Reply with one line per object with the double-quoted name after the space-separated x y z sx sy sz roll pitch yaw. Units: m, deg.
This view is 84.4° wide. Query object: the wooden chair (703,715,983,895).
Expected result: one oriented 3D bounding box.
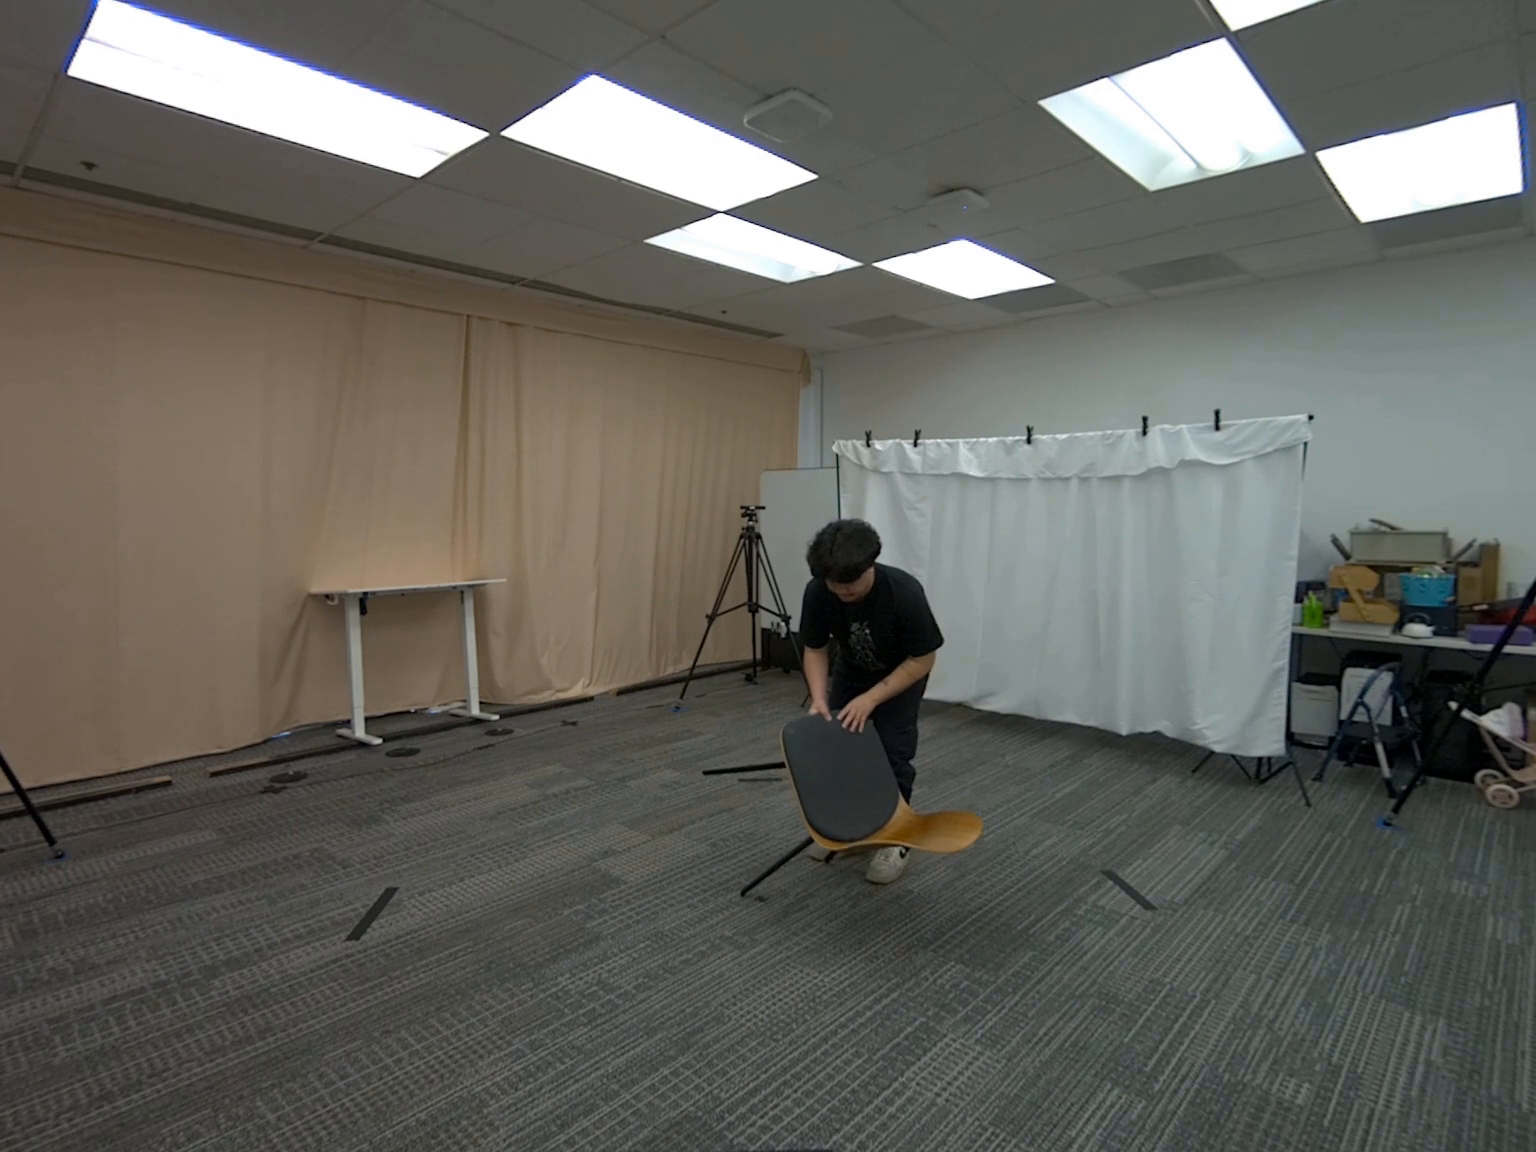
0.243 0.743 2.915 0.463 0.530 0.893 -2 -19 -41 "wooden chair"
